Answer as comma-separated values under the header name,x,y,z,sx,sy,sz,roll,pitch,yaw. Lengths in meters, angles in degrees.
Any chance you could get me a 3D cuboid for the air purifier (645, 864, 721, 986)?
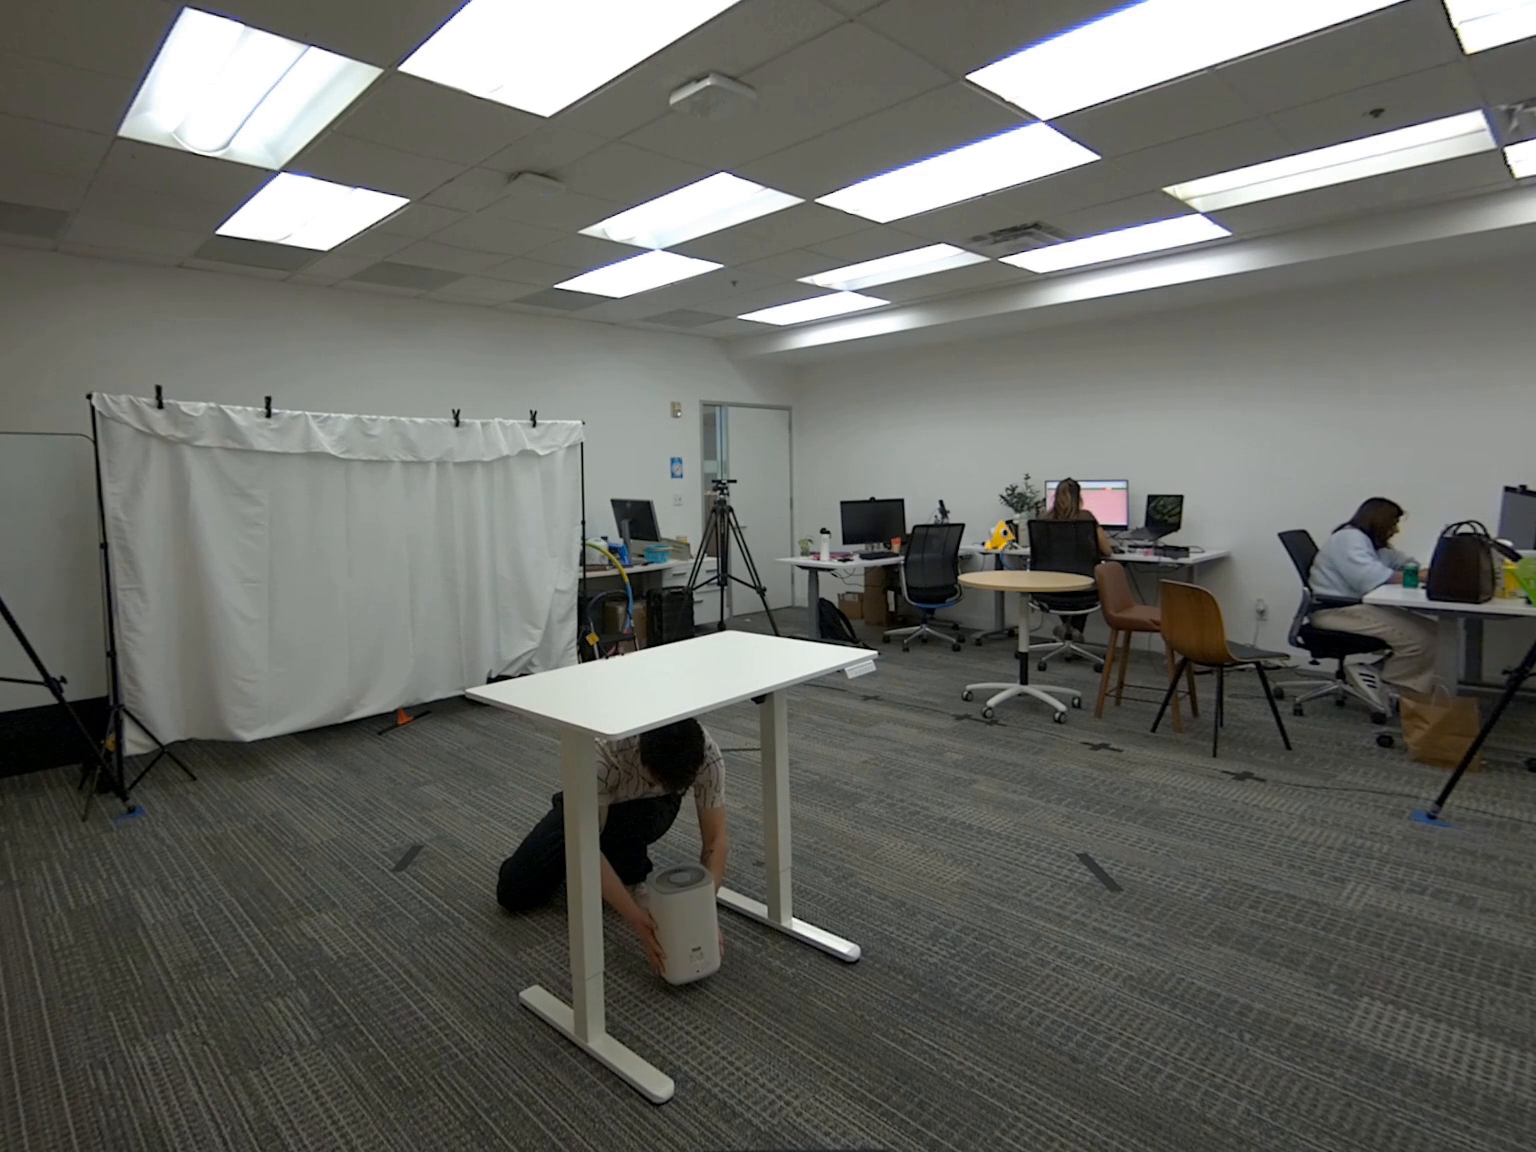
name,x,y,z,sx,sy,sz,roll,pitch,yaw
air purifier,-0.243,0.976,2.391,0.167,0.265,0.176,-6,3,-28
